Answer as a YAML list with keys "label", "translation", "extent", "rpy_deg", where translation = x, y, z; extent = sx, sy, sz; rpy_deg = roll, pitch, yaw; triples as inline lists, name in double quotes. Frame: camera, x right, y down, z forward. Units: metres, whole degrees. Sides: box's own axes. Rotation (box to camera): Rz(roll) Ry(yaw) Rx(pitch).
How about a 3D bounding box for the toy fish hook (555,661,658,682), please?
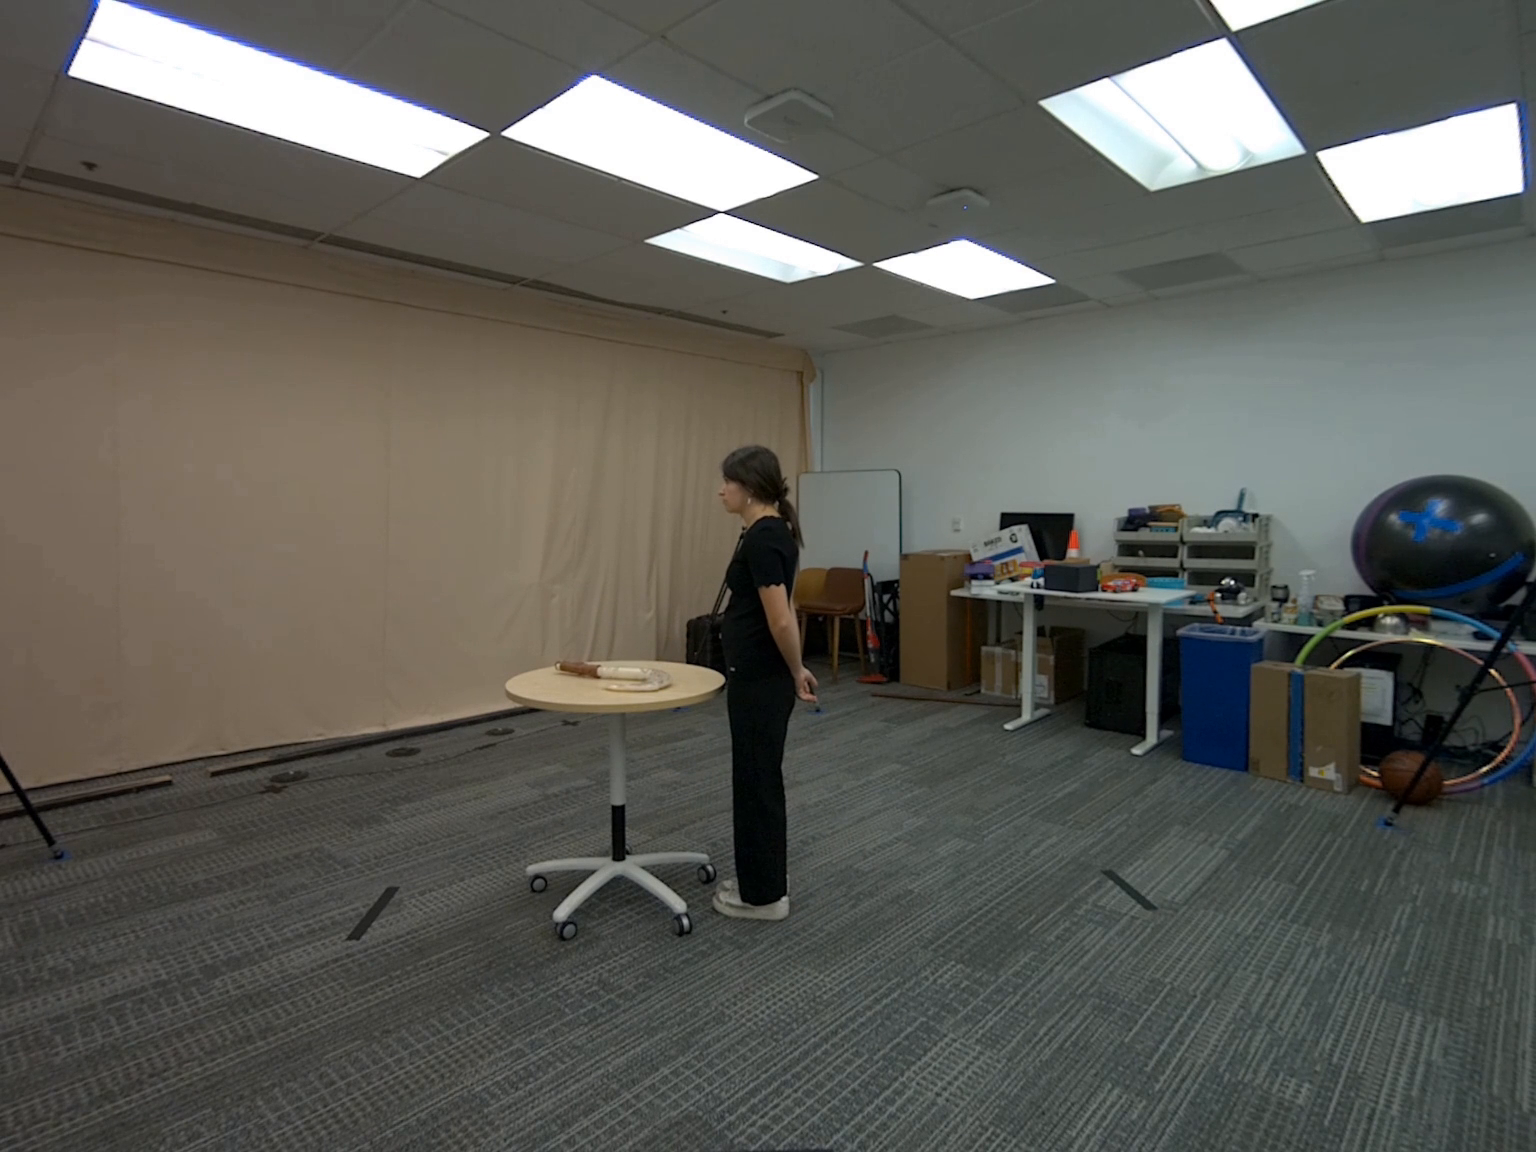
- label: "toy fish hook"
  translation: [-0.573, 0.353, 2.925]
  extent: [0.521, 0.048, 0.218]
  rpy_deg: [3, 2, 28]
